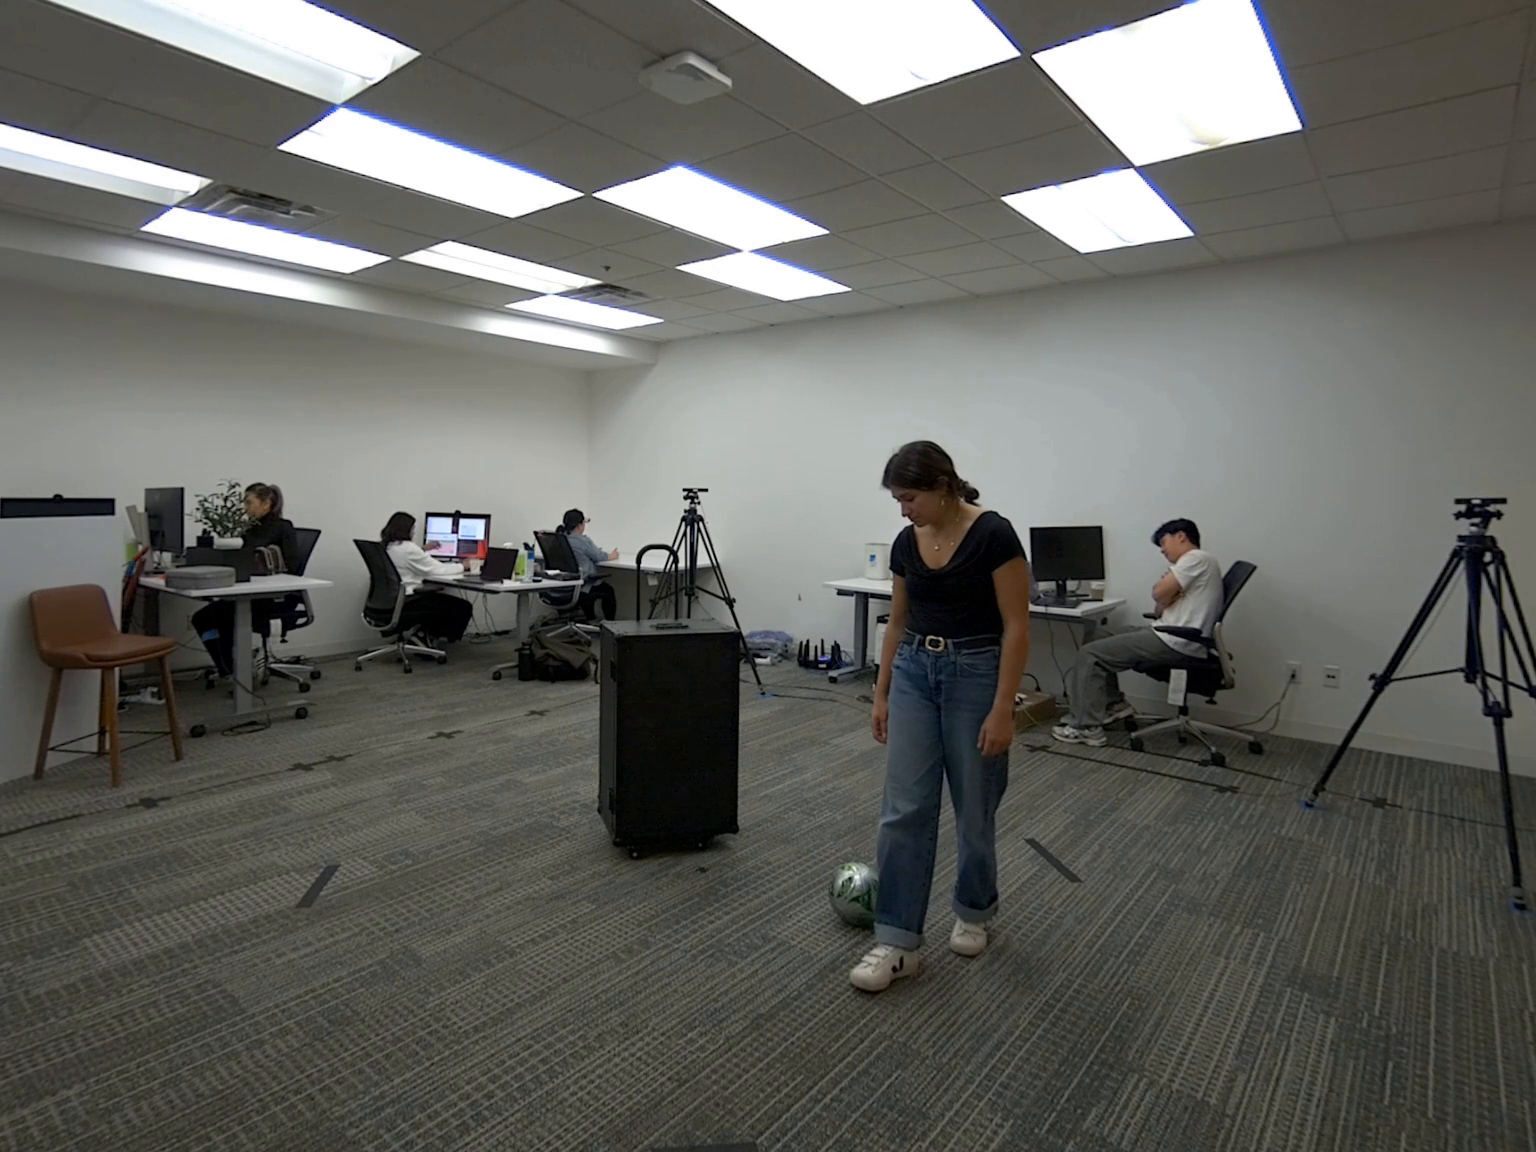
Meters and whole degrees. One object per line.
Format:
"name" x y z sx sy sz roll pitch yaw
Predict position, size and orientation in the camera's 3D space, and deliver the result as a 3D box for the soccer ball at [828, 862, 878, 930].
"soccer ball" 0.293 1.019 2.755 0.187 0.187 0.188 1 4 -2
